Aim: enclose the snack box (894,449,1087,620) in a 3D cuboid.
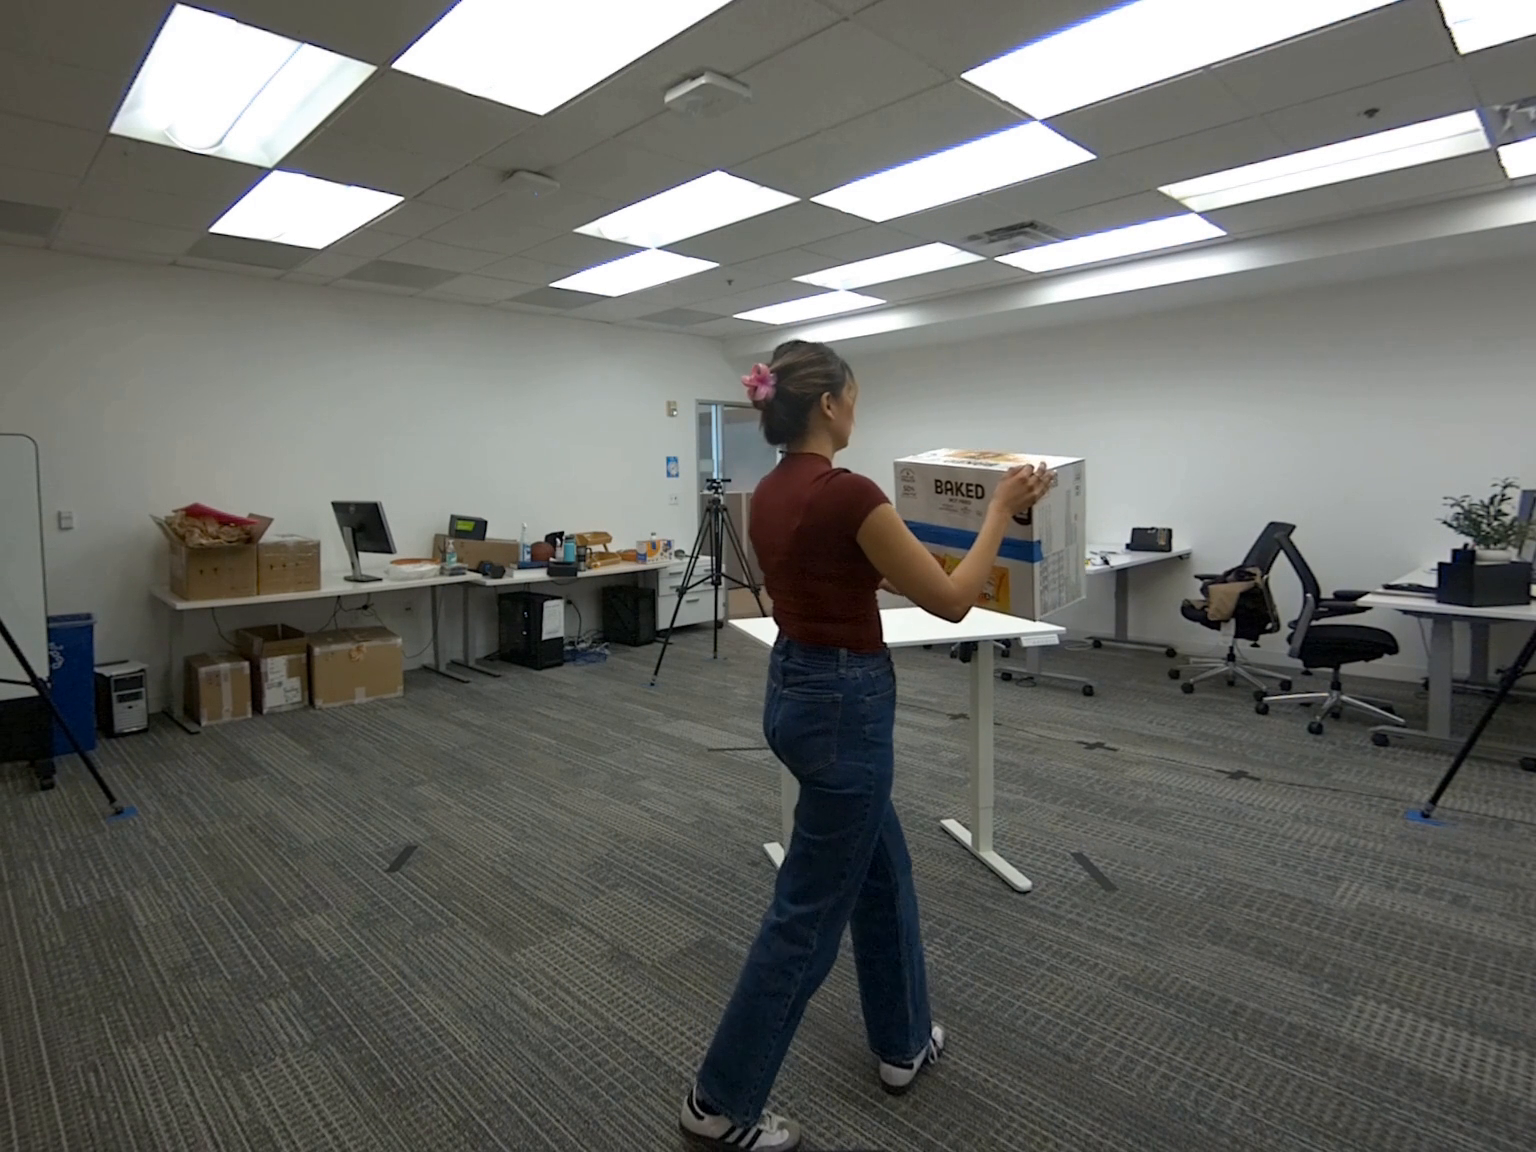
[{"bbox_3d":[0.527,-0.121,2.075,0.202,0.335,0.419,-16,19,-35],"label":"snack box"}]
